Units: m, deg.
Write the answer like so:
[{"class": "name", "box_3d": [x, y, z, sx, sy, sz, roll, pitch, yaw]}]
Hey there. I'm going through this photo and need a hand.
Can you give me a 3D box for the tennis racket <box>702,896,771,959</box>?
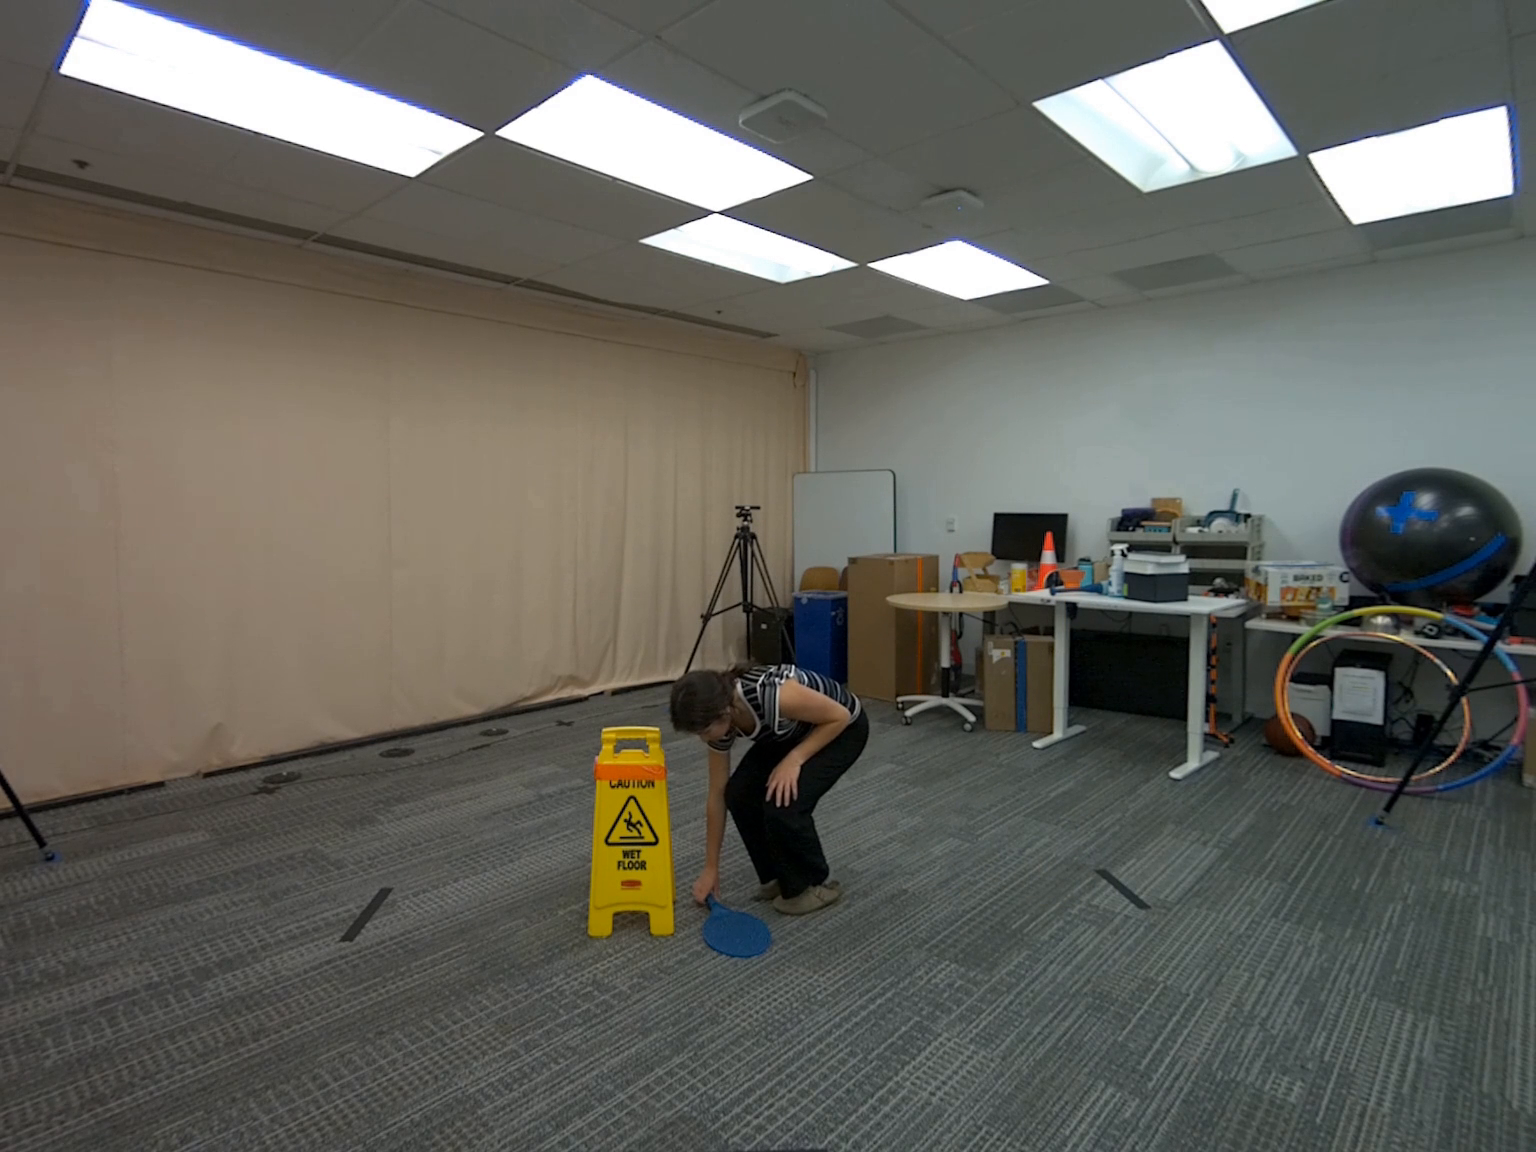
[{"class": "tennis racket", "box_3d": [-0.131, 1.135, 2.792, 0.209, 0.031, 0.444, -5, 10, -23]}]
